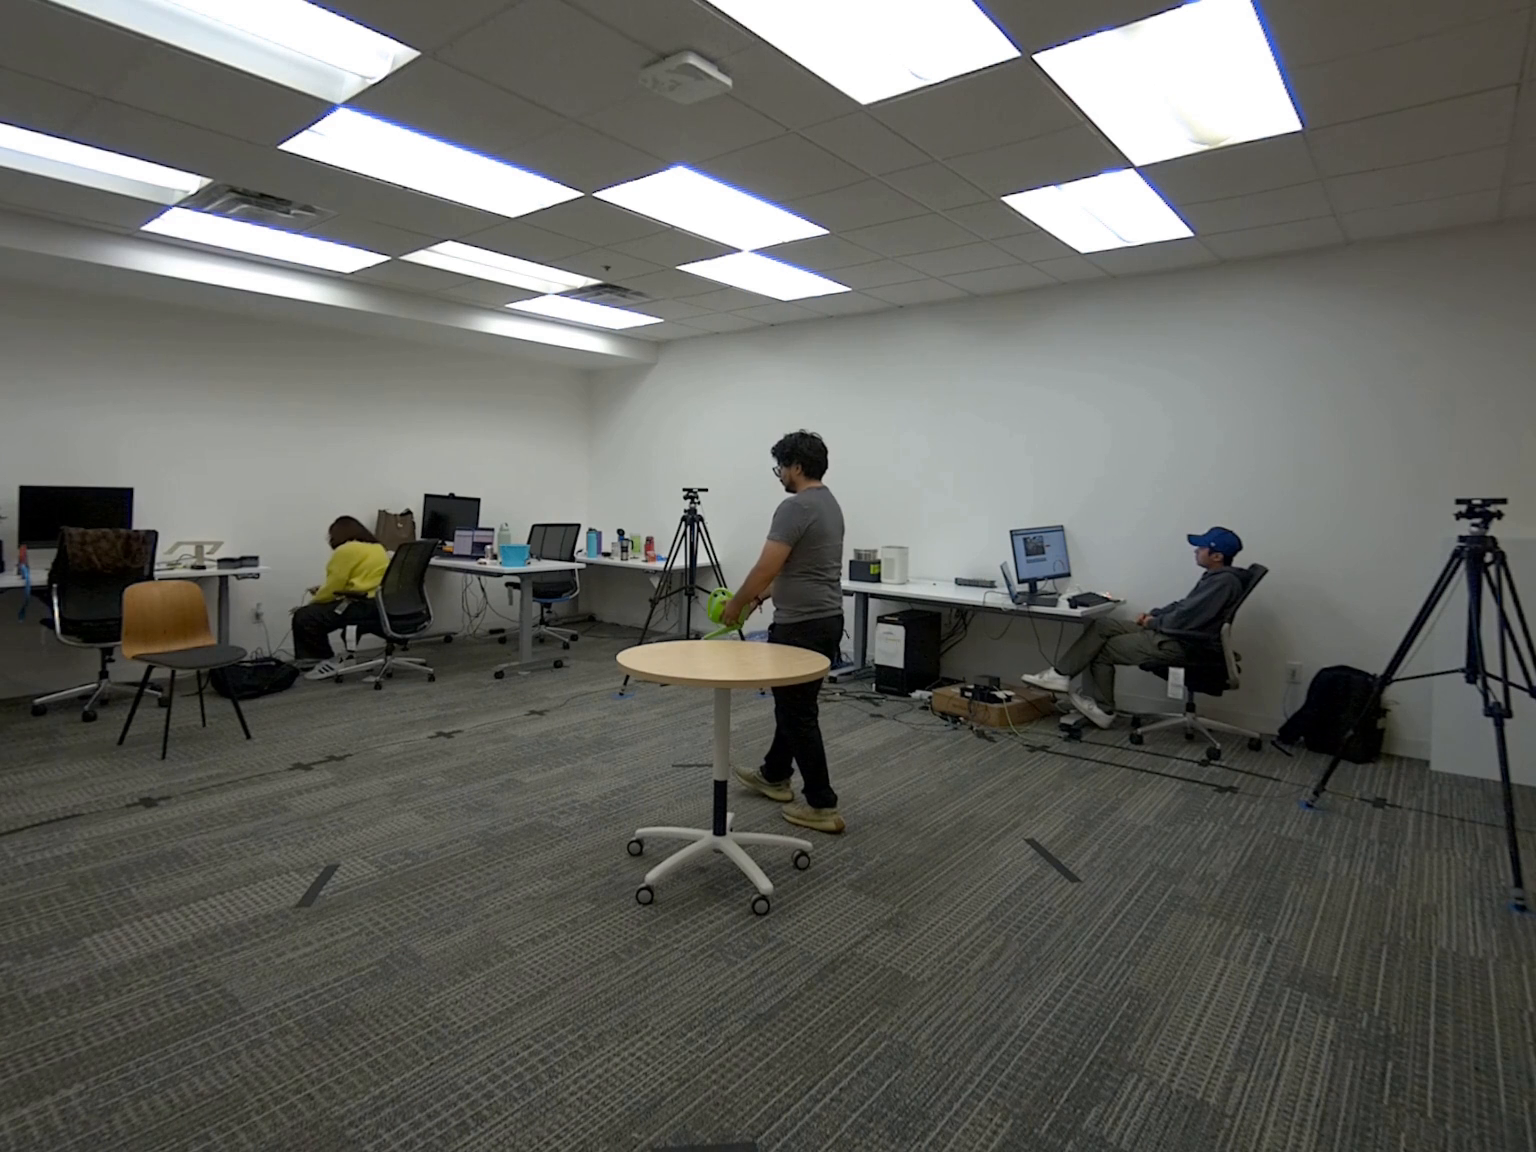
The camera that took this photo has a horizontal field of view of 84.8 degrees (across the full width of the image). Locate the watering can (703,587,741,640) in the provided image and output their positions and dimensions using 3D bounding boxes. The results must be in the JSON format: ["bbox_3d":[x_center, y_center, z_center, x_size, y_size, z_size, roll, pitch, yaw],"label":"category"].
[{"bbox_3d":[-0.210,0.188,3.790,0.180,0.274,0.098,16,19,12],"label":"watering can"}]
